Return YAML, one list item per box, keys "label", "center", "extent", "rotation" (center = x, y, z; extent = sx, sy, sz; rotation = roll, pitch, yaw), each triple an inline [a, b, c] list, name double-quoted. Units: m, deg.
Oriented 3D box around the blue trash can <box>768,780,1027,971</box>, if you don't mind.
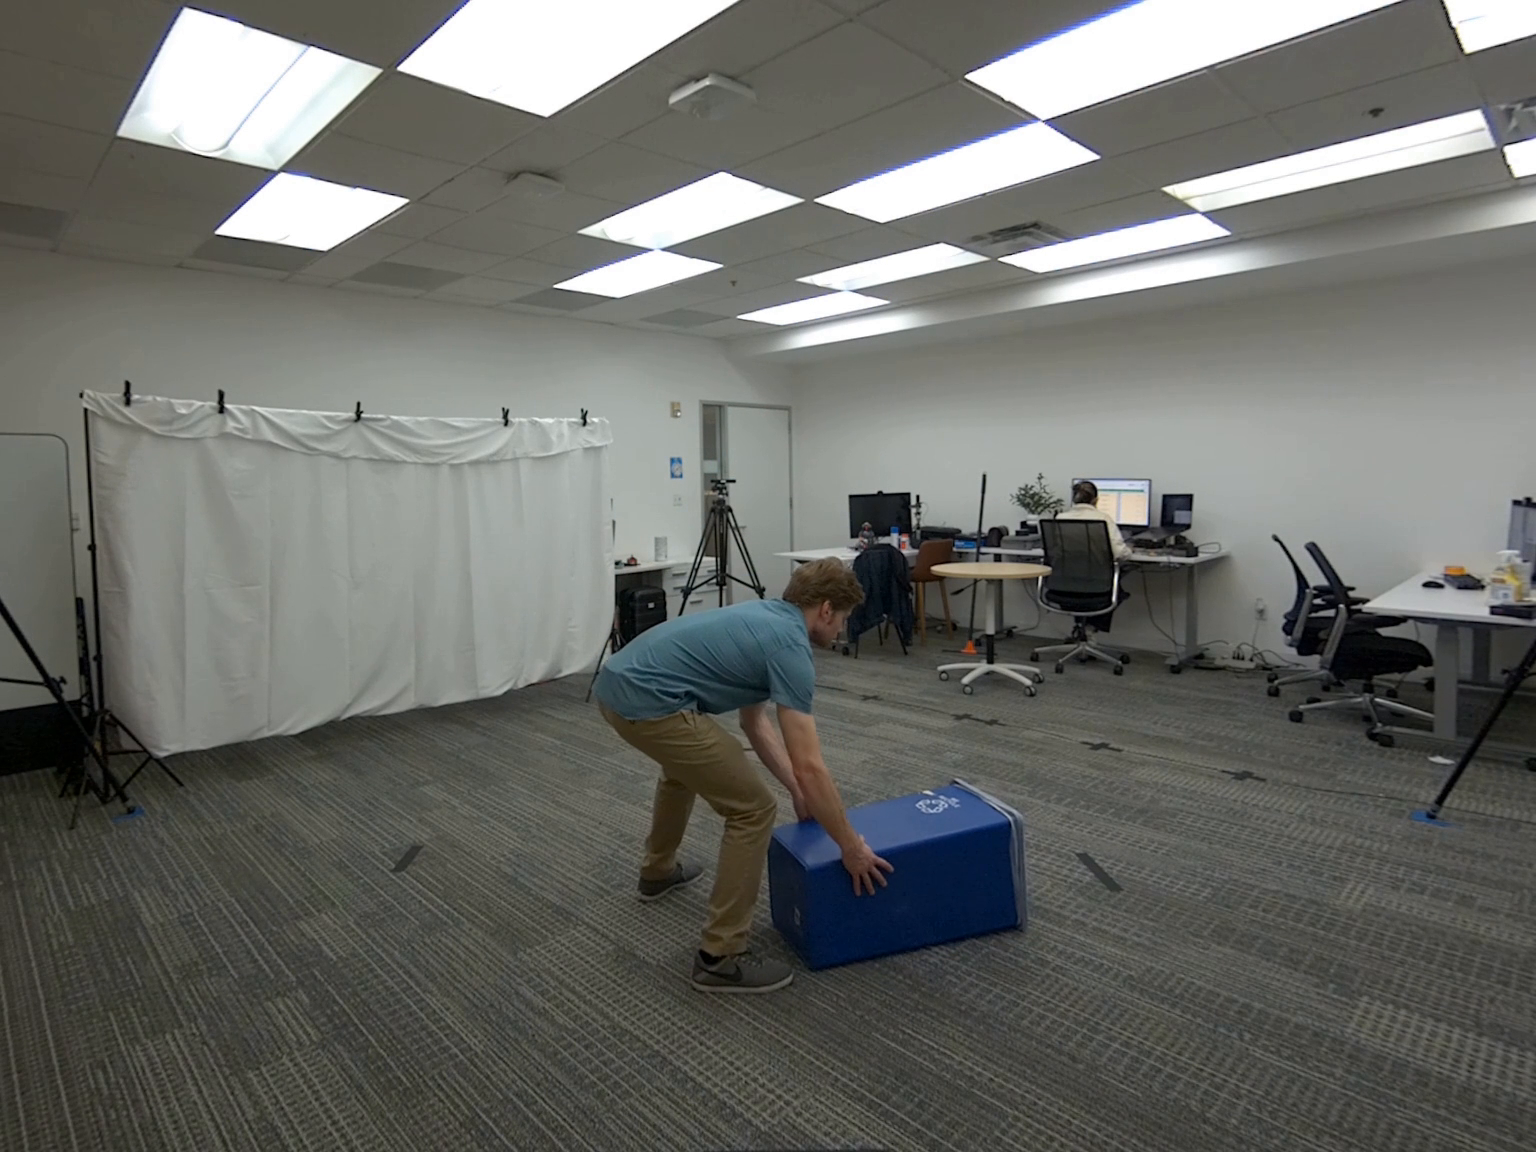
- label: "blue trash can"
  center: [0.395, 0.922, 2.656]
  extent: [0.702, 0.376, 0.382]
  rotation: [-7, 6, -20]
